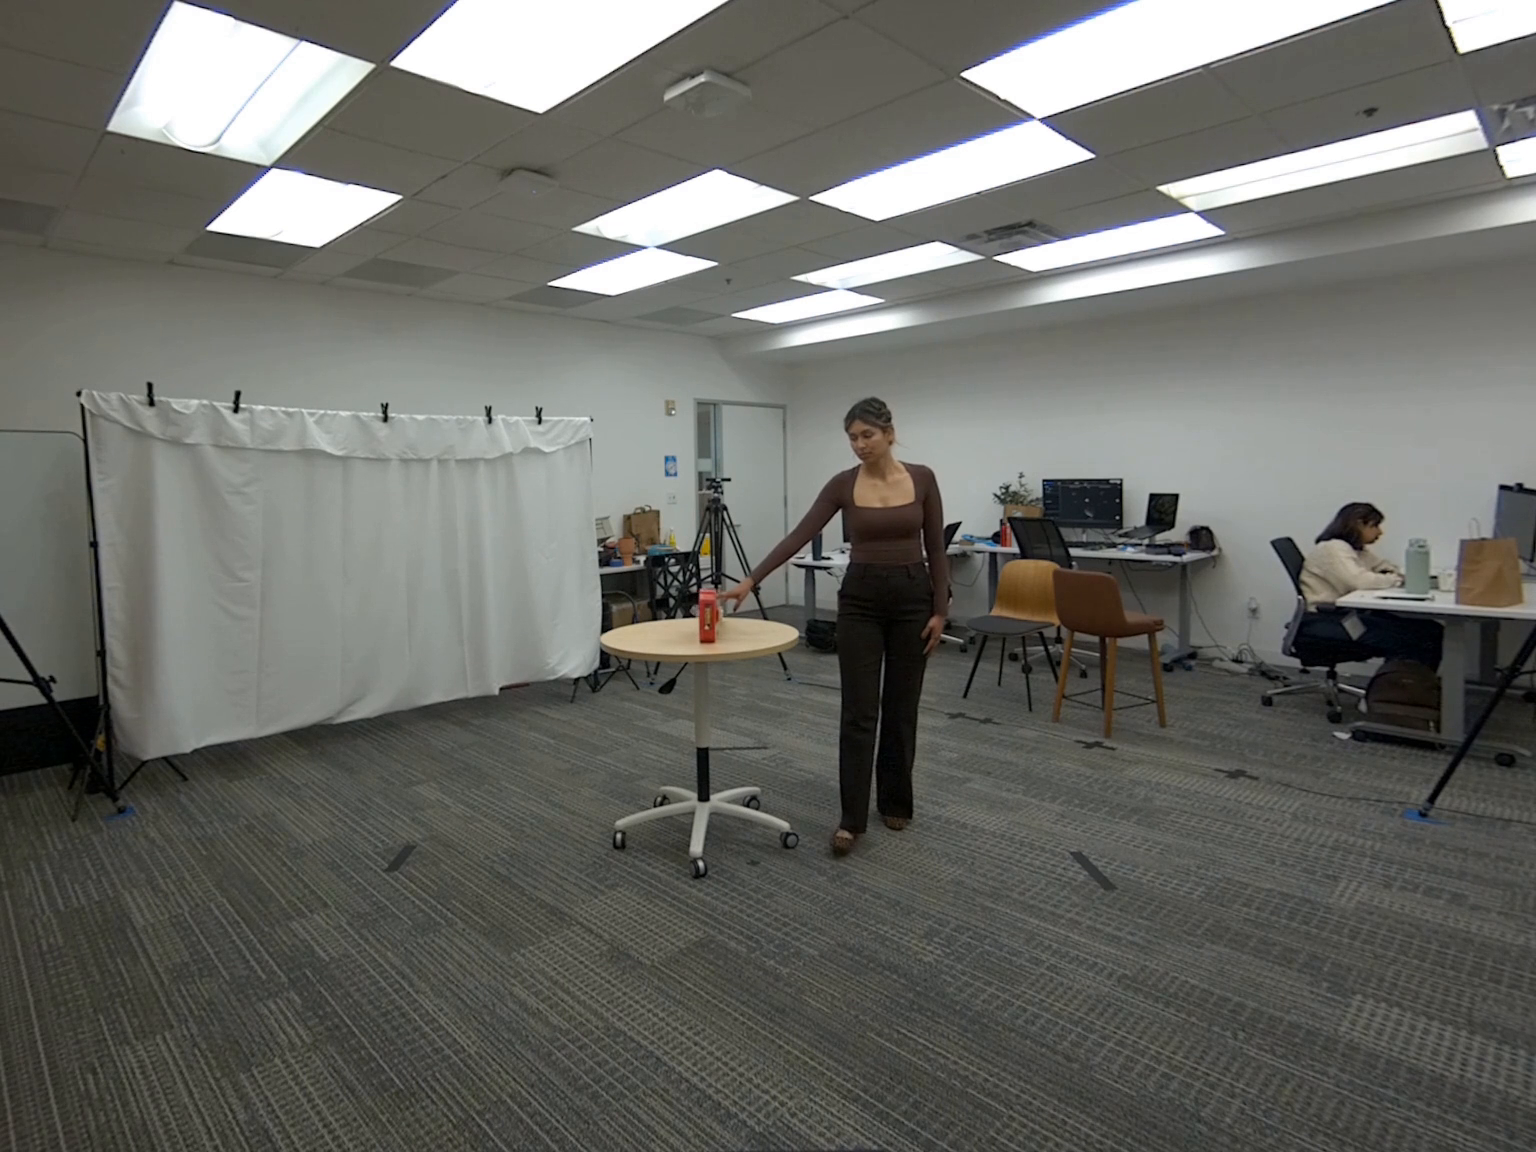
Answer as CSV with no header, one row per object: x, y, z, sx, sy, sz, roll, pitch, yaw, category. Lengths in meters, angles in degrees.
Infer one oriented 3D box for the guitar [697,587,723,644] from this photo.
-0.214,0.178,3.335,0.071,0.195,0.491,-2,-10,1,guitar
